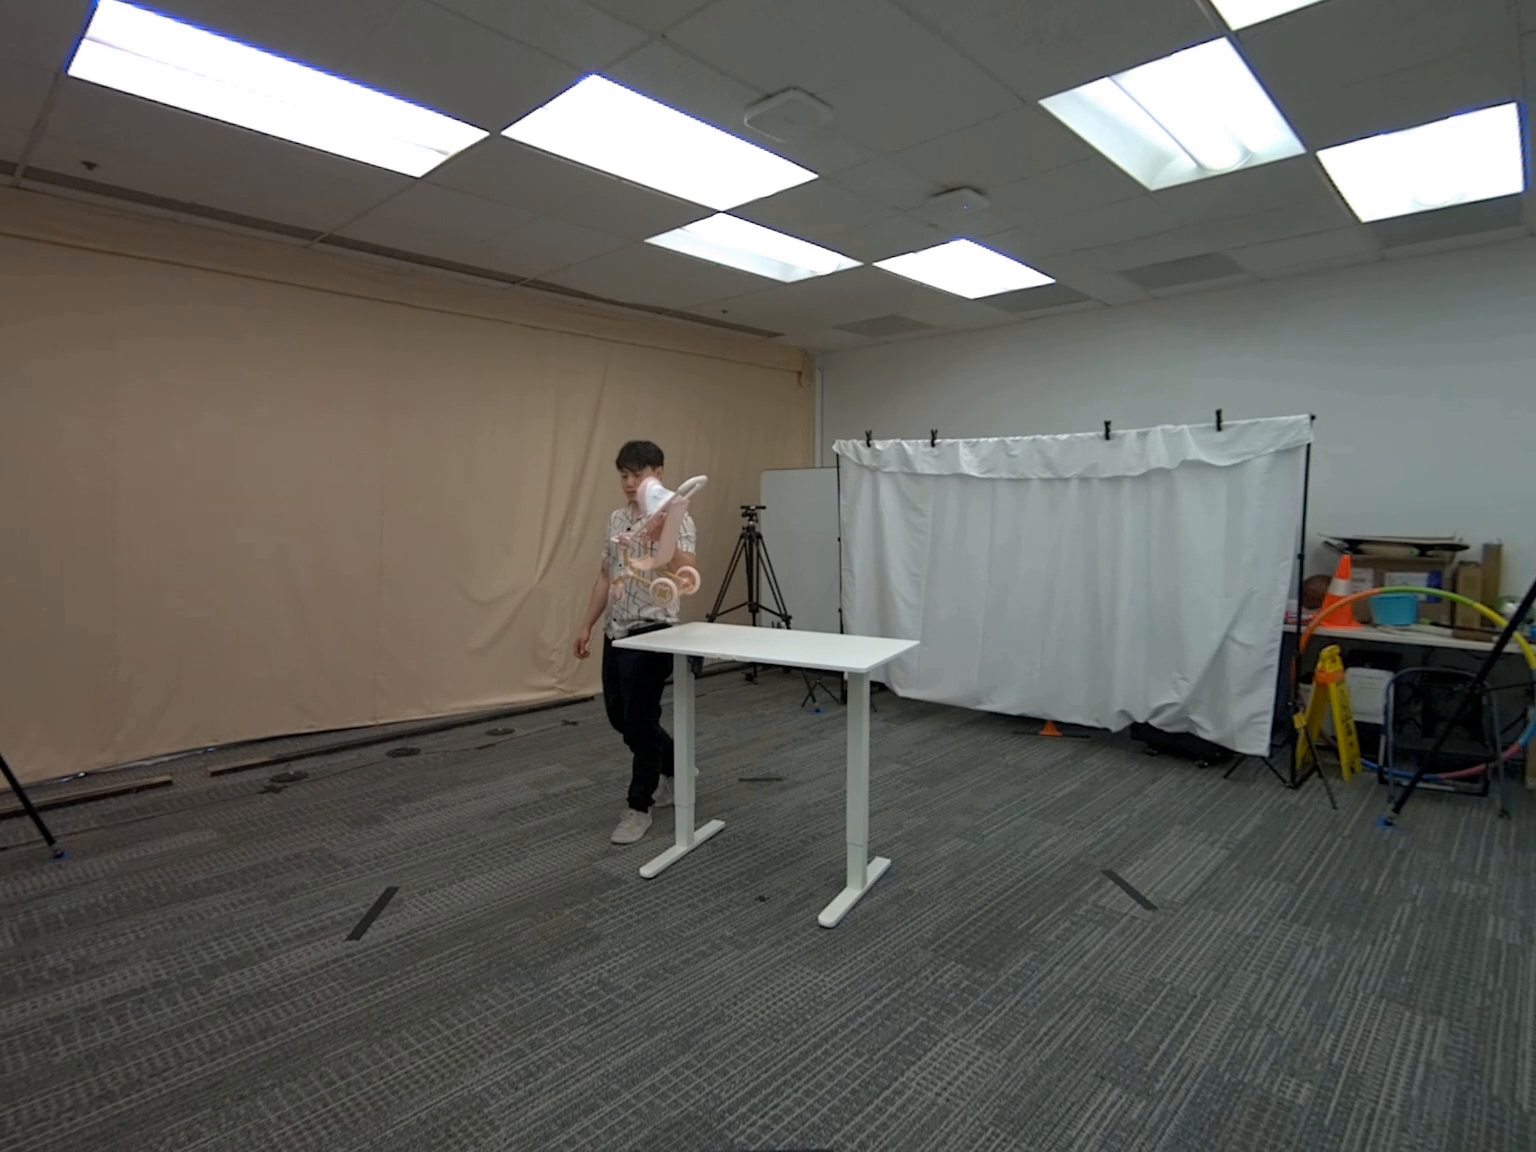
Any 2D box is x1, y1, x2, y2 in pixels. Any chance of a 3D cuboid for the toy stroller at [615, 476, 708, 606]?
[{"bbox_3d":[-0.434,-0.129,3.190,0.349,0.532,0.276,11,13,20],"label":"toy stroller"}]
